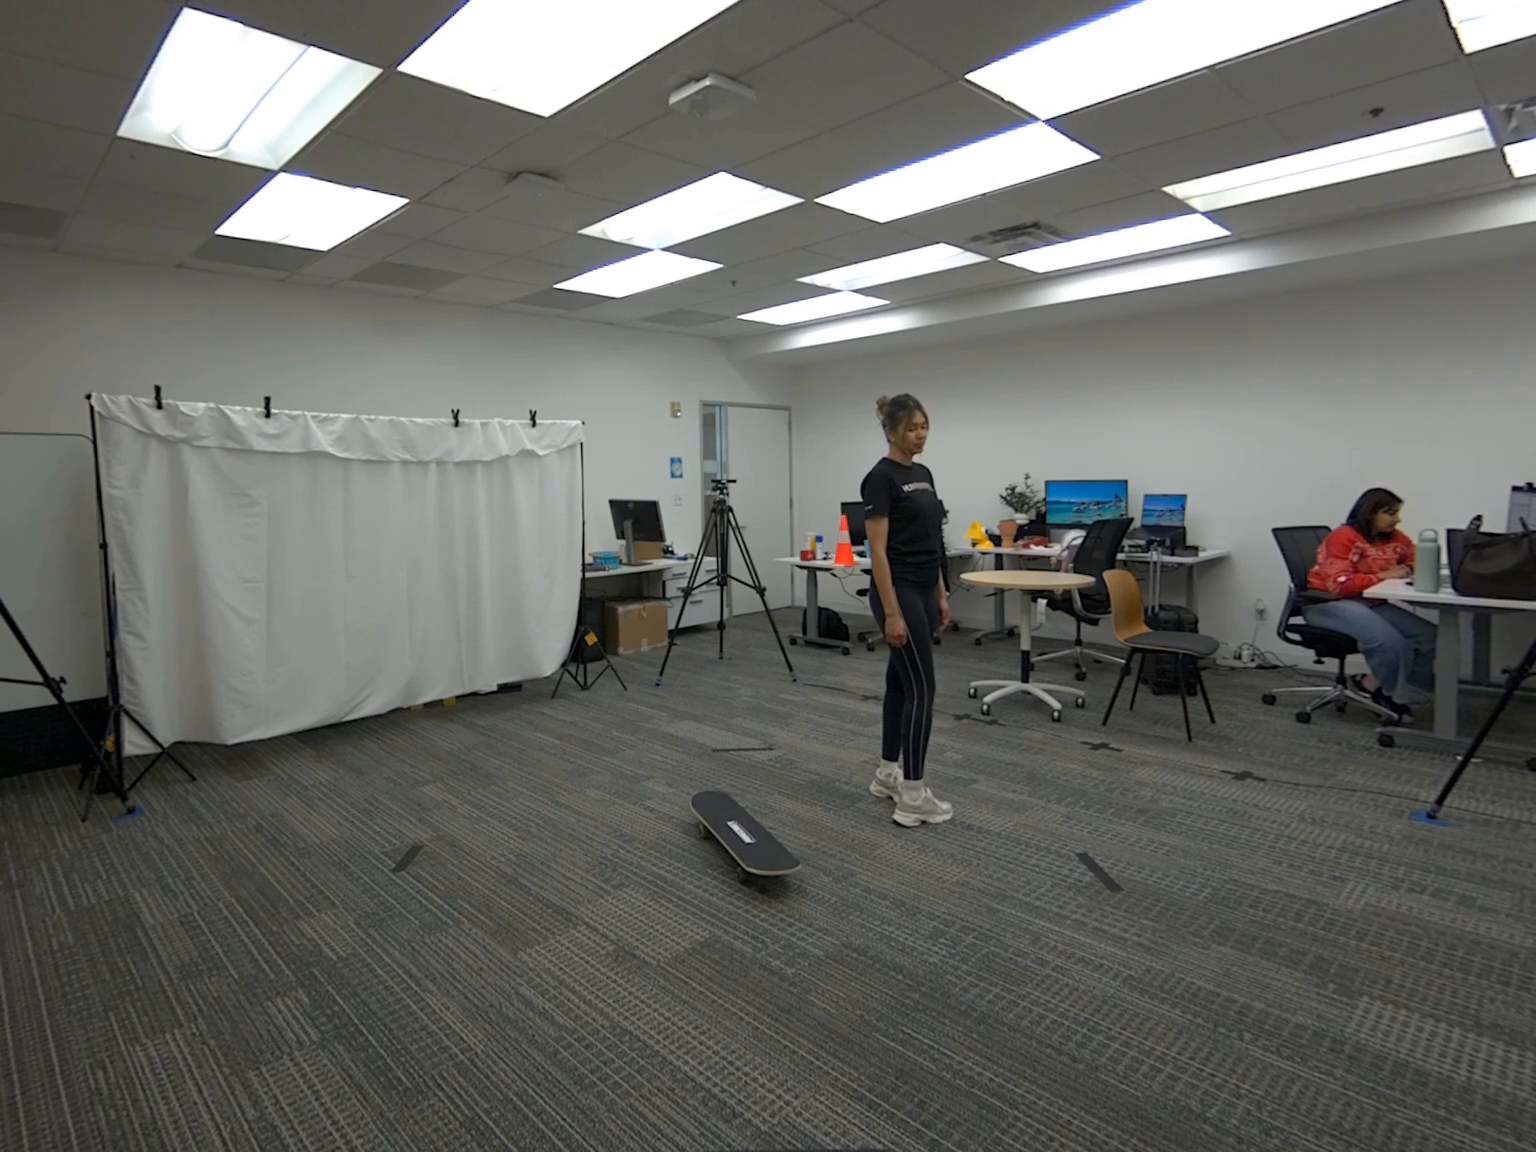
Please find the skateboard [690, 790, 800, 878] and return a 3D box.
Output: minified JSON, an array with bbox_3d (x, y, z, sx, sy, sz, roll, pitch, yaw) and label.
[{"bbox_3d":[-0.096,0.981,3.180,0.190,0.110,0.804,-2,6,-23],"label":"skateboard"}]
